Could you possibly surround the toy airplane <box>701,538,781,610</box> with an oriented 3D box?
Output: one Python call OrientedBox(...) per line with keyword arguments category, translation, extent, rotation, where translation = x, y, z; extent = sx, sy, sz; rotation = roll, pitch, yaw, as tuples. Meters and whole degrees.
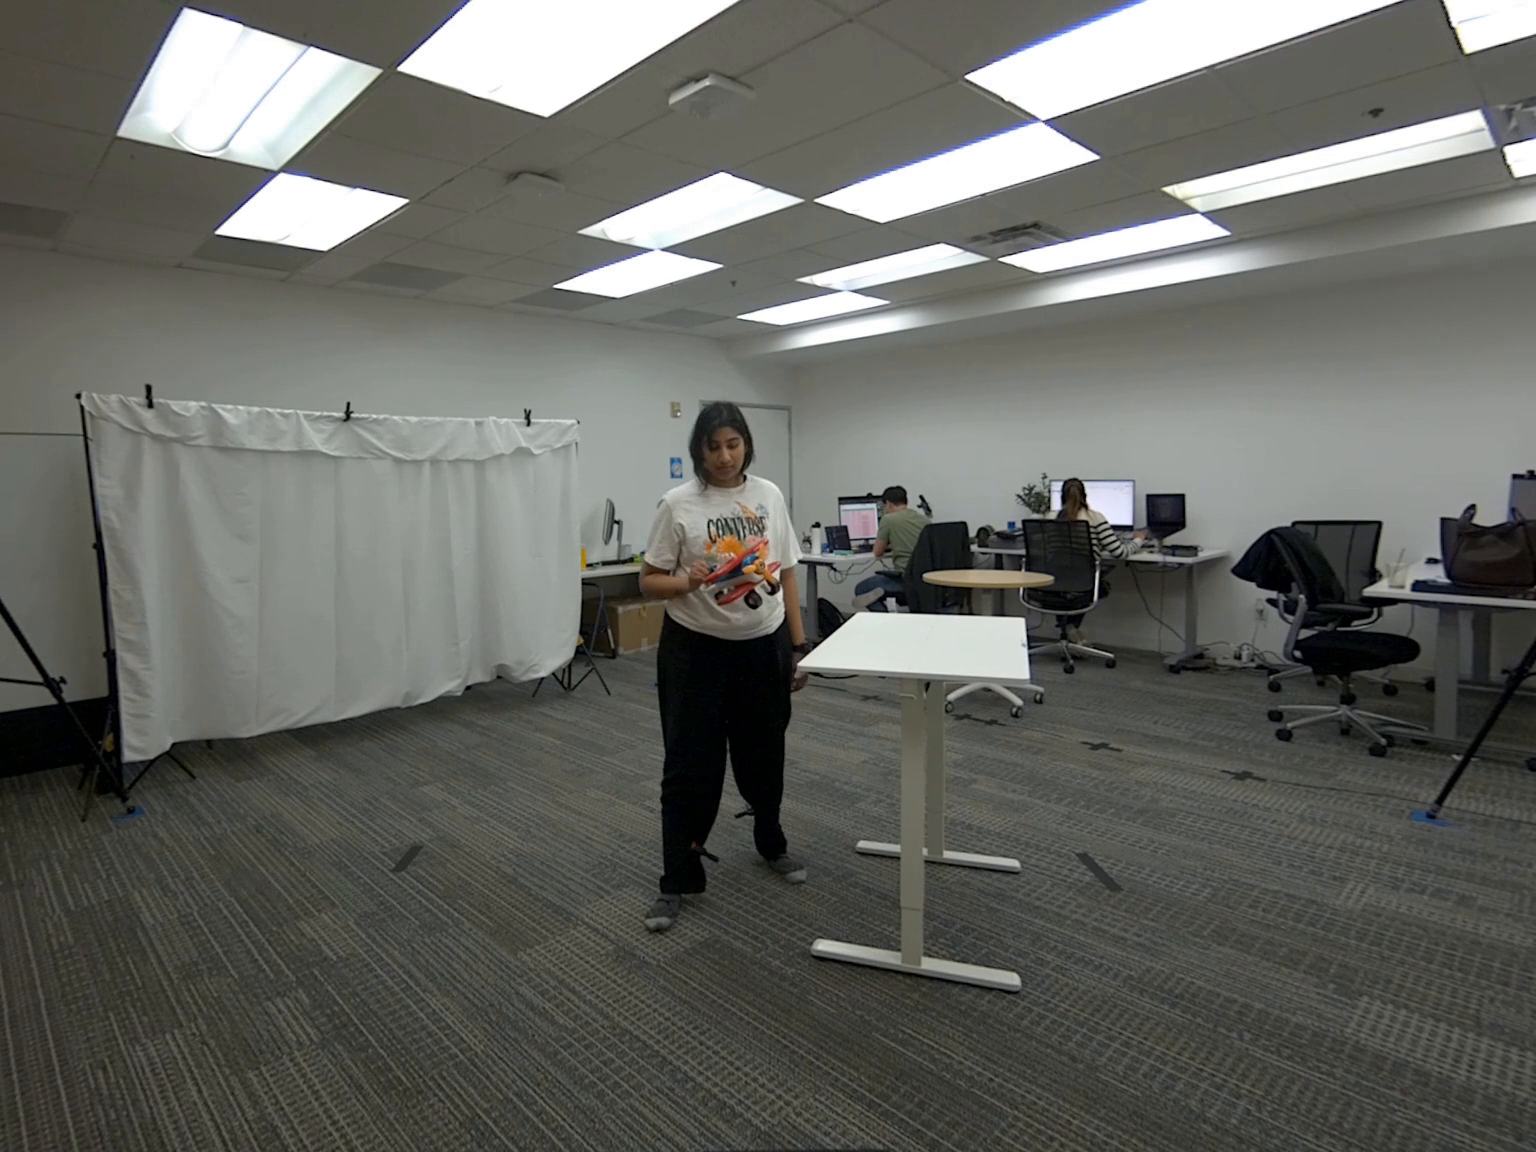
OrientedBox(category="toy airplane", translation=(-0.101, 0.015, 2.561), extent=(0.263, 0.153, 0.253), rotation=(-14, 20, 20))
